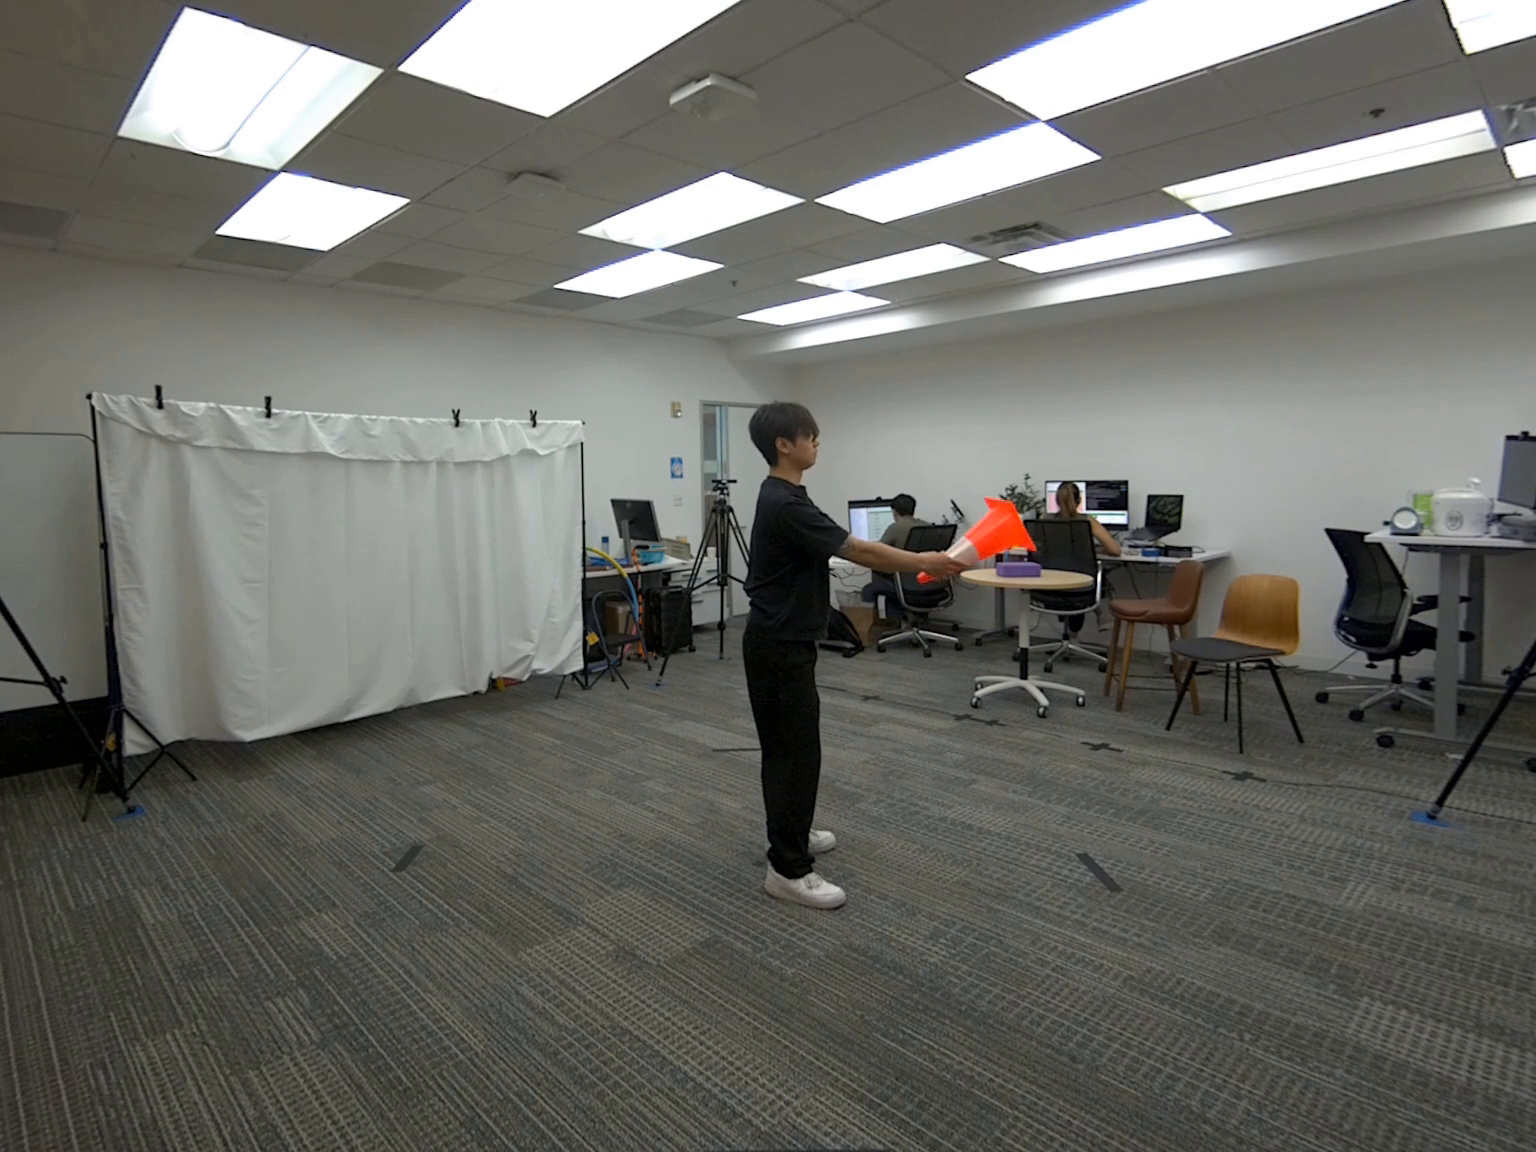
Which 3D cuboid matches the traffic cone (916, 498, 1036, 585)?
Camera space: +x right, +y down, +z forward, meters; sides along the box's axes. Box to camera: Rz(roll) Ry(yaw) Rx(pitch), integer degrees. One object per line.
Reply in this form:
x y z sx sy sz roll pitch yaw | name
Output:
0.680 -0.065 2.959 0.383 0.200 0.209 -32 15 -4 | traffic cone
